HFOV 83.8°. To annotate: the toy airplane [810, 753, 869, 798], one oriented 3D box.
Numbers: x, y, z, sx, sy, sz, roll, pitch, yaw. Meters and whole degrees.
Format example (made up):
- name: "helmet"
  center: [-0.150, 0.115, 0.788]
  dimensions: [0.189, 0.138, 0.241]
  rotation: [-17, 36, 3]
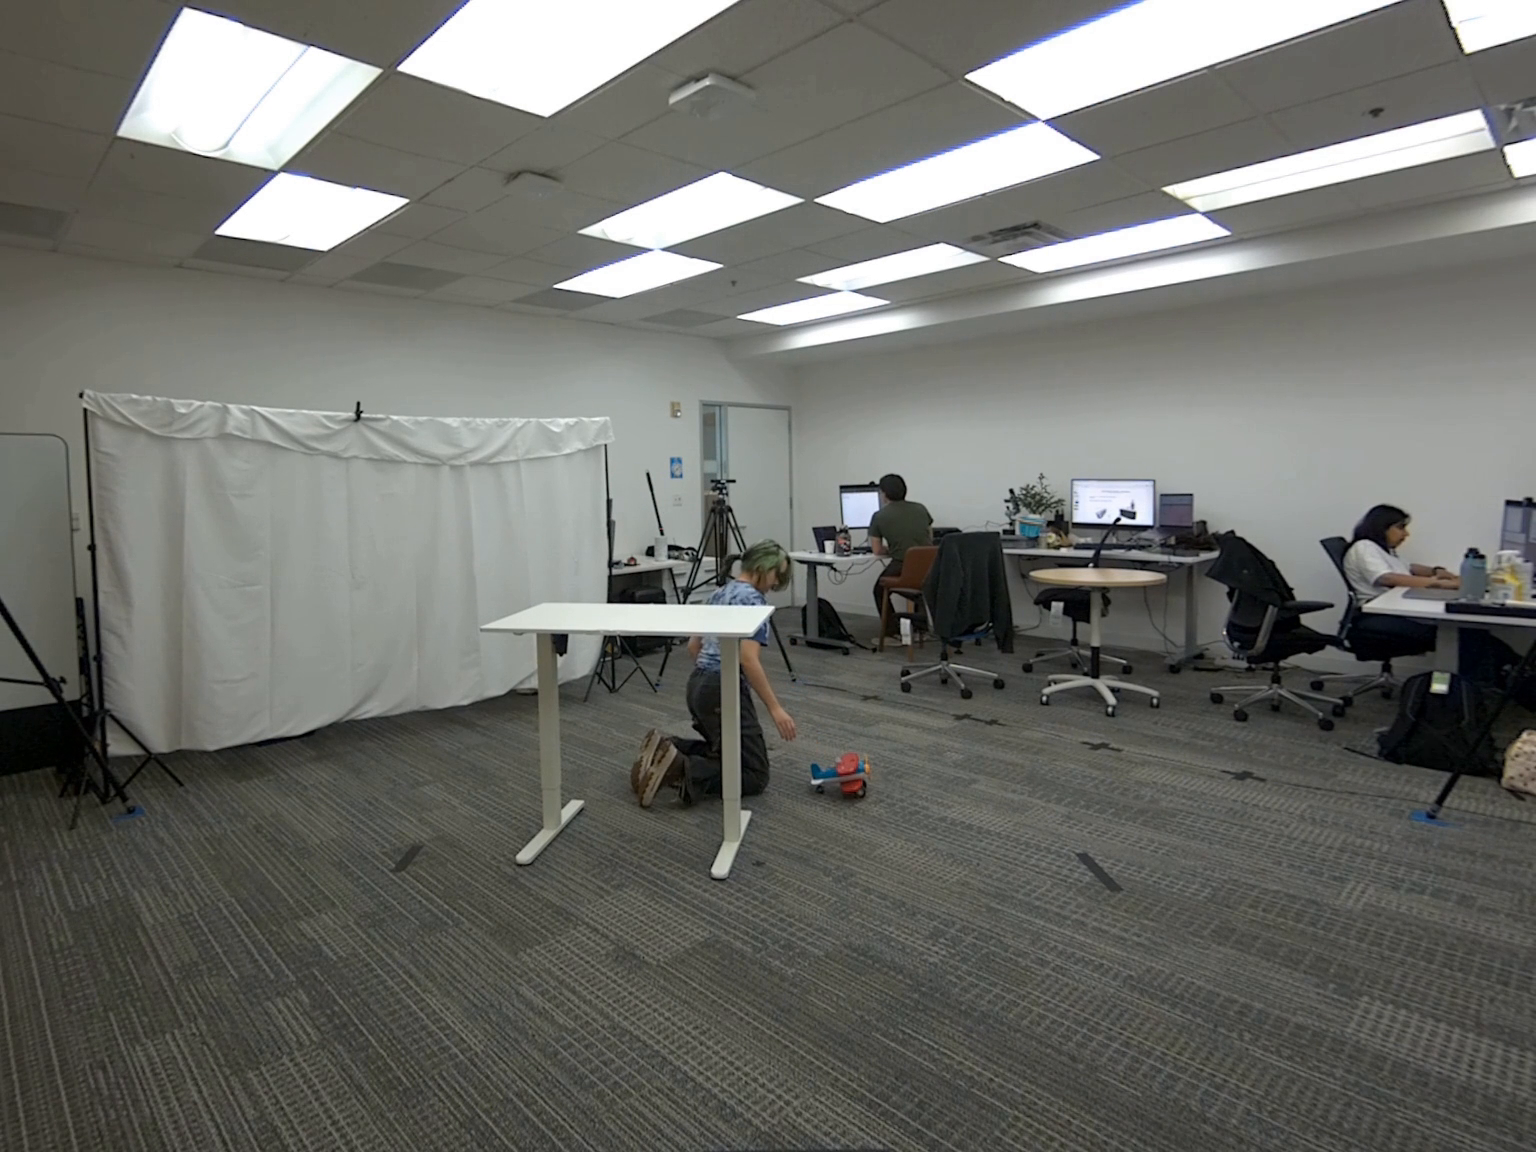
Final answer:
- name: "toy airplane"
  center: [0.319, 0.890, 3.772]
  dimensions: [0.255, 0.156, 0.256]
  rotation: [-2, 6, -19]
